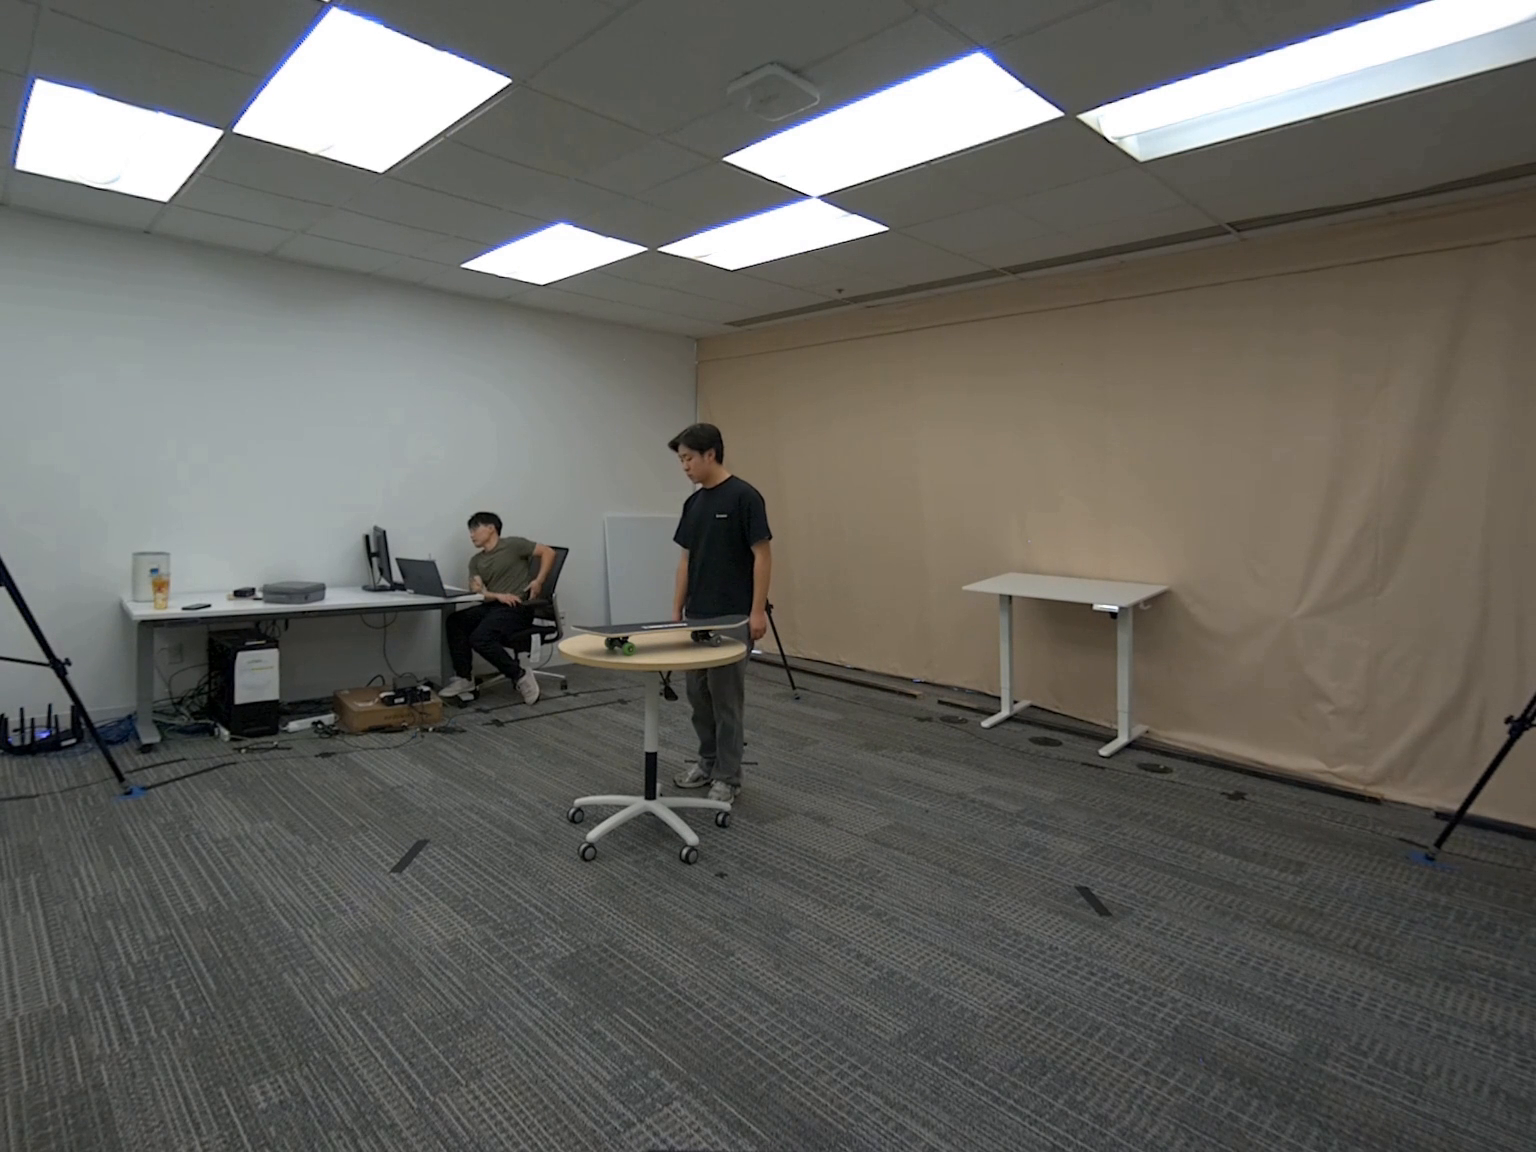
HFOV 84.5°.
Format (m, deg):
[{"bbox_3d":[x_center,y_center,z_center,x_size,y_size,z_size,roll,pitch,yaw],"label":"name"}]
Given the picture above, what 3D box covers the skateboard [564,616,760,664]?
[{"bbox_3d":[-0.408,0.240,3.380,0.768,0.110,0.198,-2,6,-34],"label":"skateboard"}]
